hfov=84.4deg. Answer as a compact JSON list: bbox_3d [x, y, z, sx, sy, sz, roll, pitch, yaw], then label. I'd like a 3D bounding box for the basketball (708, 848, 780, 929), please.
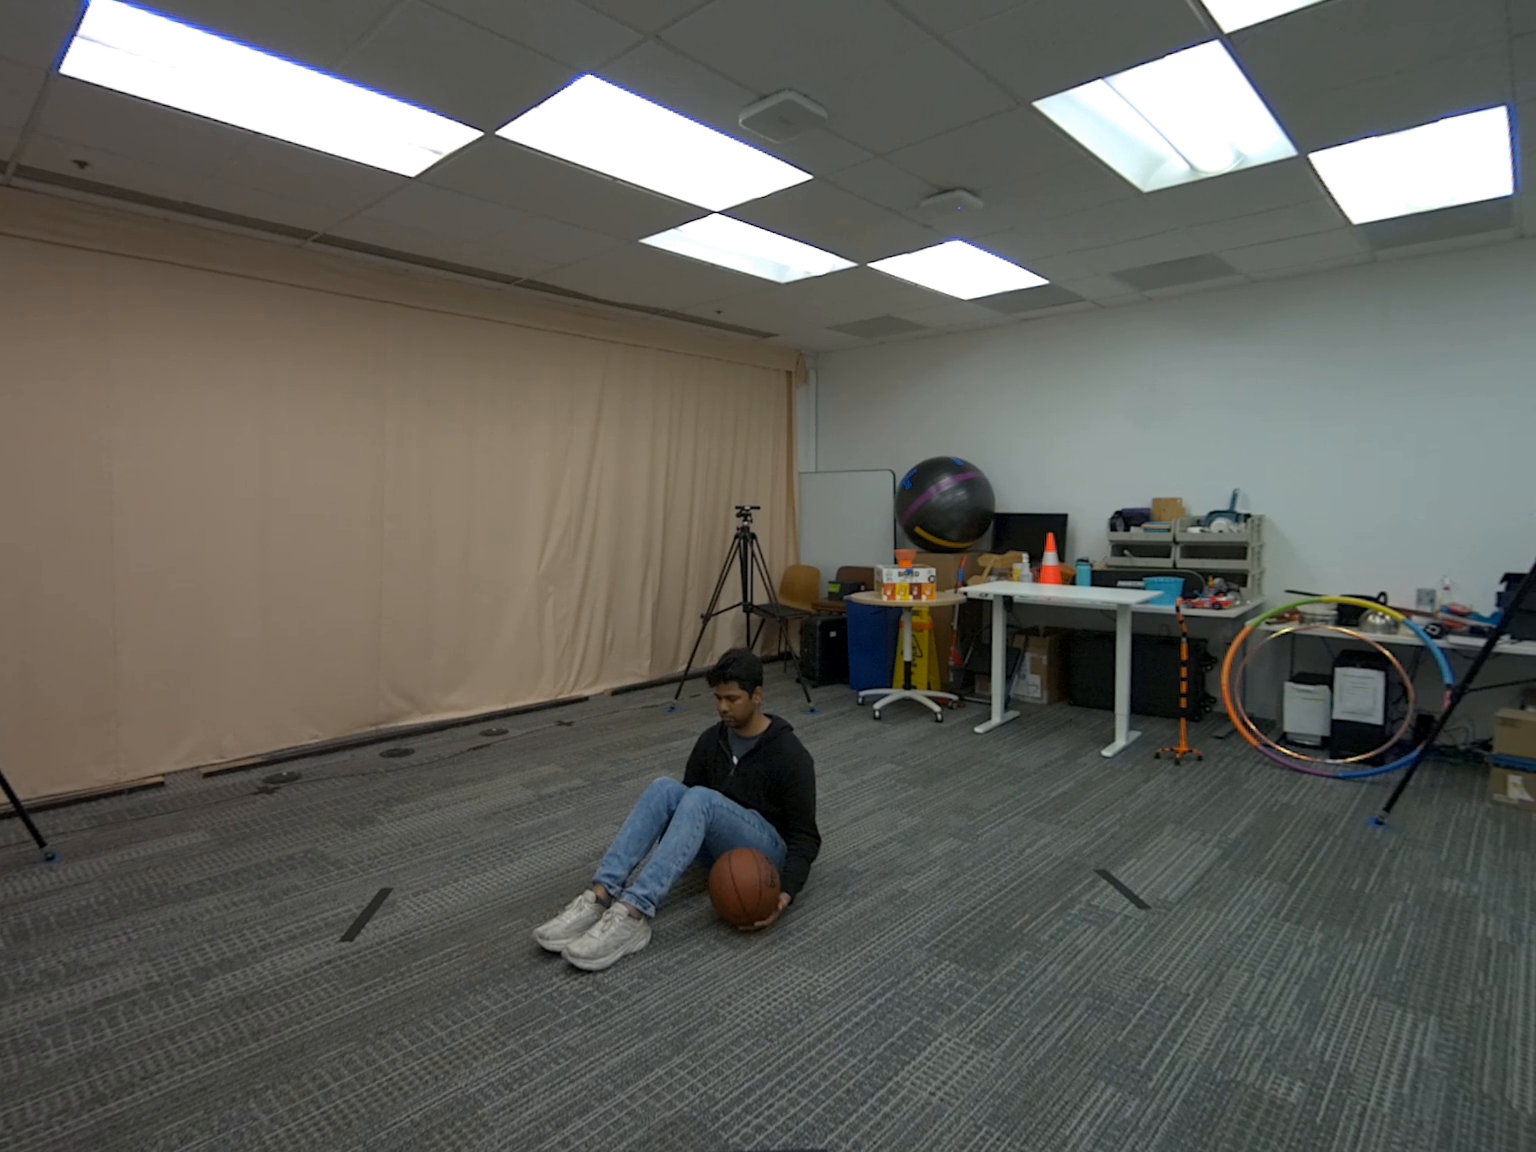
[{"bbox_3d":[-0.091,1.005,2.775,0.236,0.235,0.237,0,4,-2],"label":"basketball"}]
